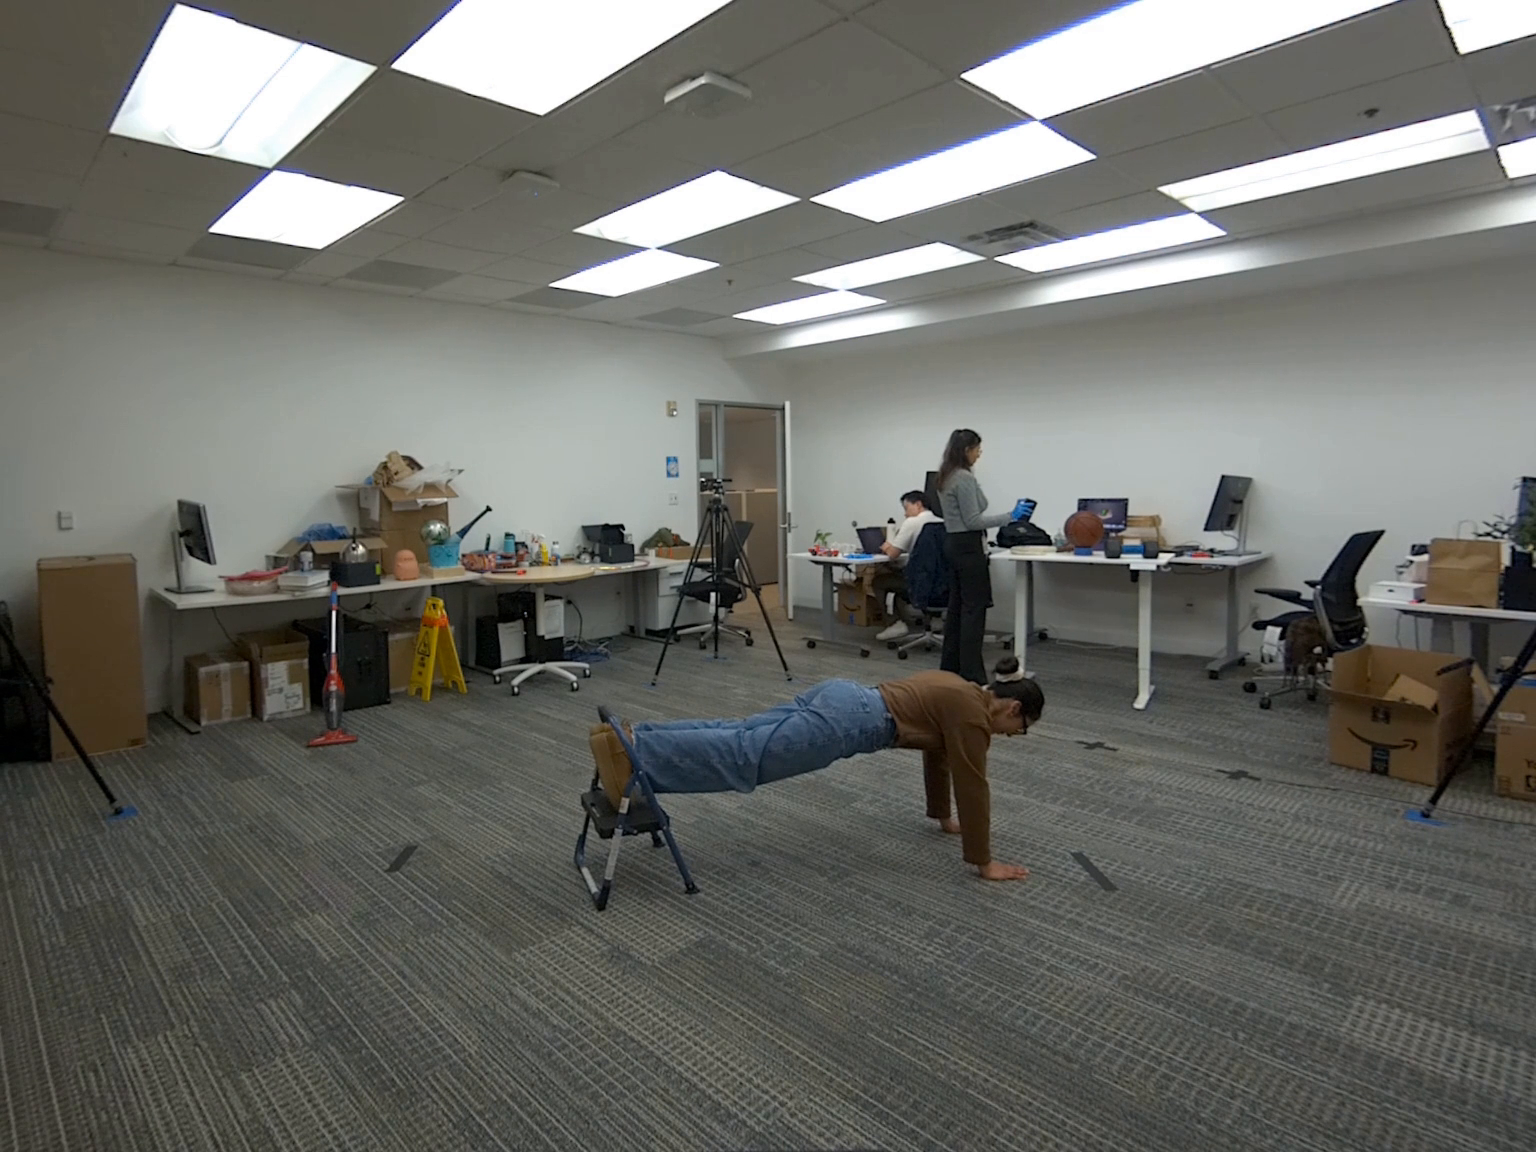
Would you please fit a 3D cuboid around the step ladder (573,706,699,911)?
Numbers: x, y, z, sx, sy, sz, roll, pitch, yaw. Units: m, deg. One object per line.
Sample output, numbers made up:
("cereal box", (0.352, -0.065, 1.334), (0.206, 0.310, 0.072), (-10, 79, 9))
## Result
("step ladder", (-0.478, 0.763, 3.008), (0.342, 0.604, 0.441), (-3, 5, -24))
